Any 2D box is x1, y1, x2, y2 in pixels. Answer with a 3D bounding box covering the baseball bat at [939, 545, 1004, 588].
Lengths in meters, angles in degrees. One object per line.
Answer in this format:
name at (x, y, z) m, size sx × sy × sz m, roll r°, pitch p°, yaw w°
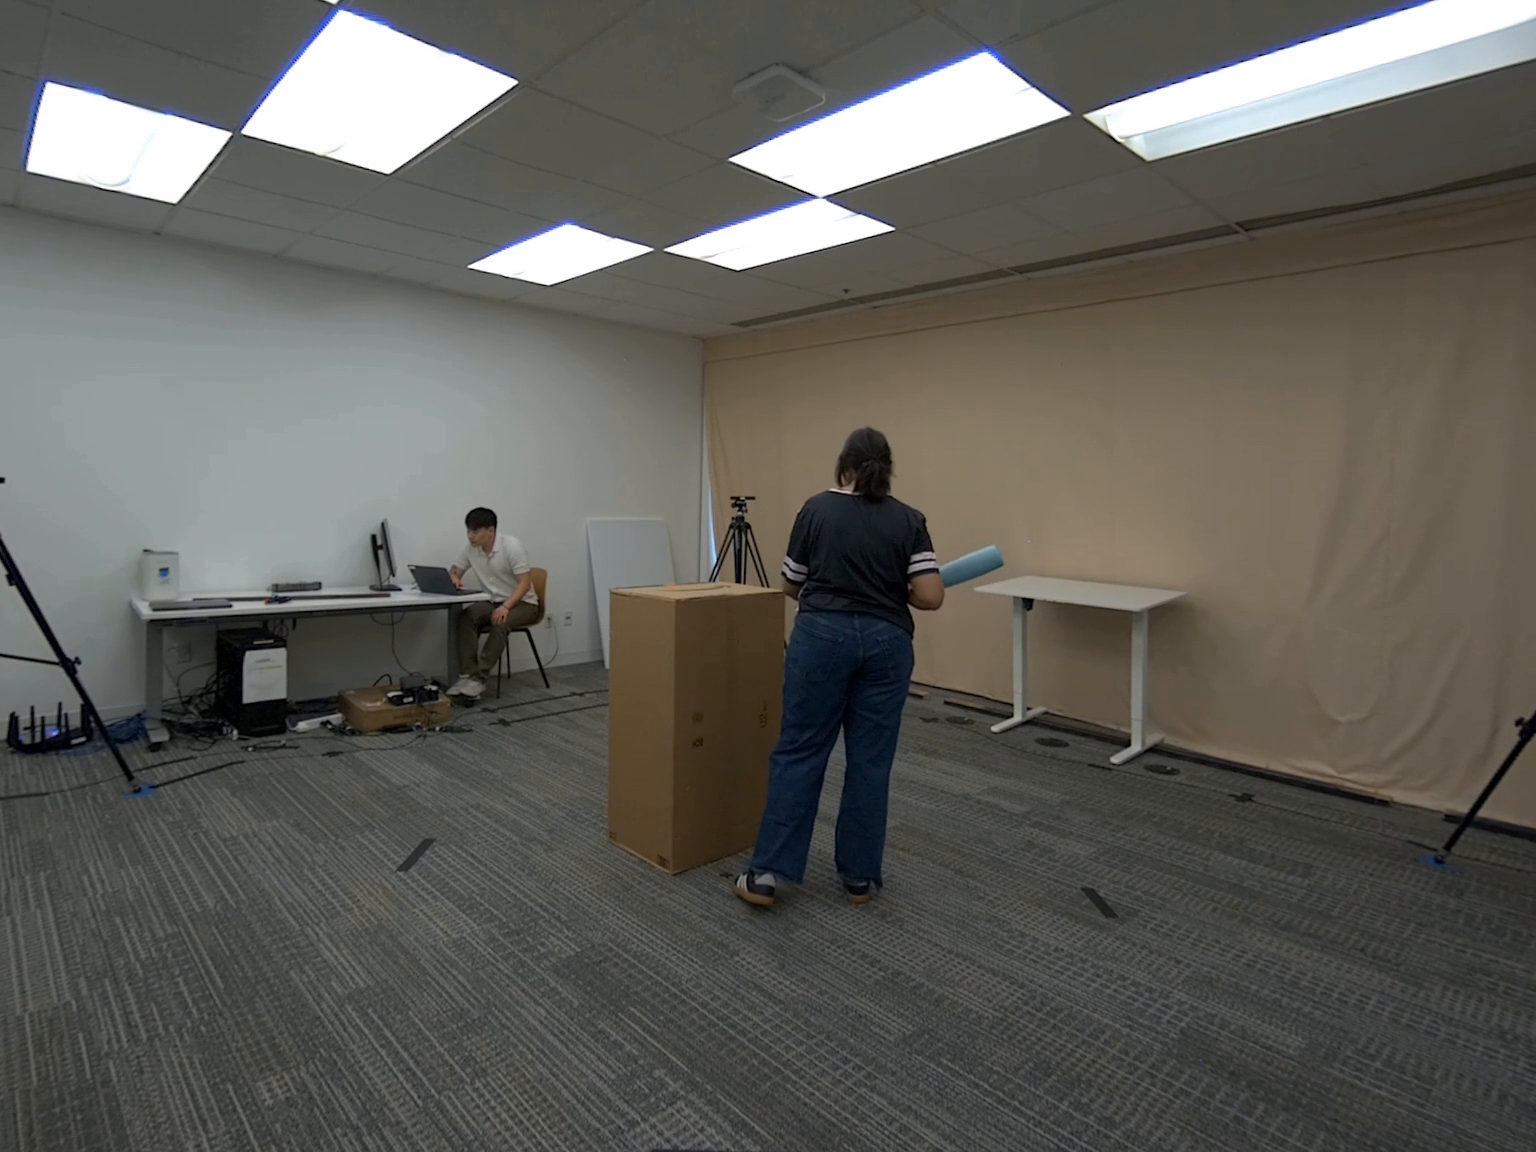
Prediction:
baseball bat at (0.581, 0.045, 3.084) m, size 0.547 × 0.089 × 0.088 m, roll -23°, pitch -2°, yaw 16°
